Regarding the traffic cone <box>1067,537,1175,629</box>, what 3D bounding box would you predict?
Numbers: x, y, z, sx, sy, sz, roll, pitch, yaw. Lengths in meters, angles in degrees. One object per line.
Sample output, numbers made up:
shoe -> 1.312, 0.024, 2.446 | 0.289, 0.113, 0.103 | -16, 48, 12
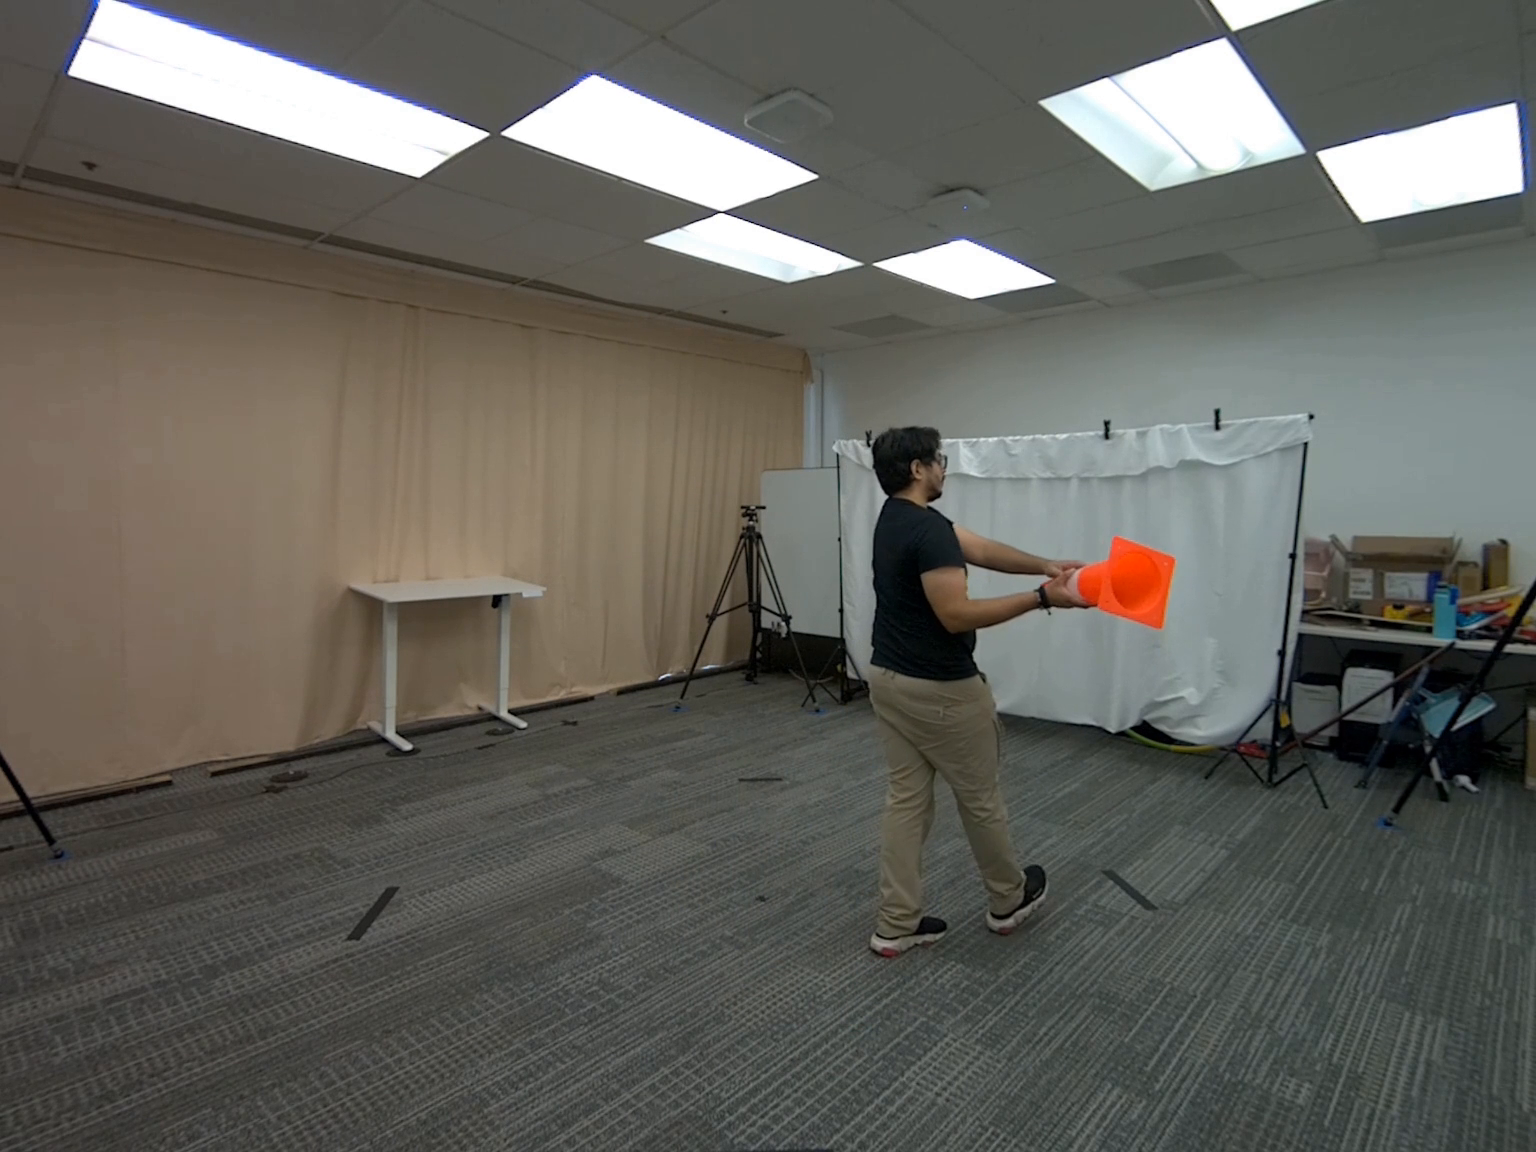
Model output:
traffic cone -> 0.914, 0.040, 2.361 | 0.202, 0.204, 0.388 | 17, -10, -14
